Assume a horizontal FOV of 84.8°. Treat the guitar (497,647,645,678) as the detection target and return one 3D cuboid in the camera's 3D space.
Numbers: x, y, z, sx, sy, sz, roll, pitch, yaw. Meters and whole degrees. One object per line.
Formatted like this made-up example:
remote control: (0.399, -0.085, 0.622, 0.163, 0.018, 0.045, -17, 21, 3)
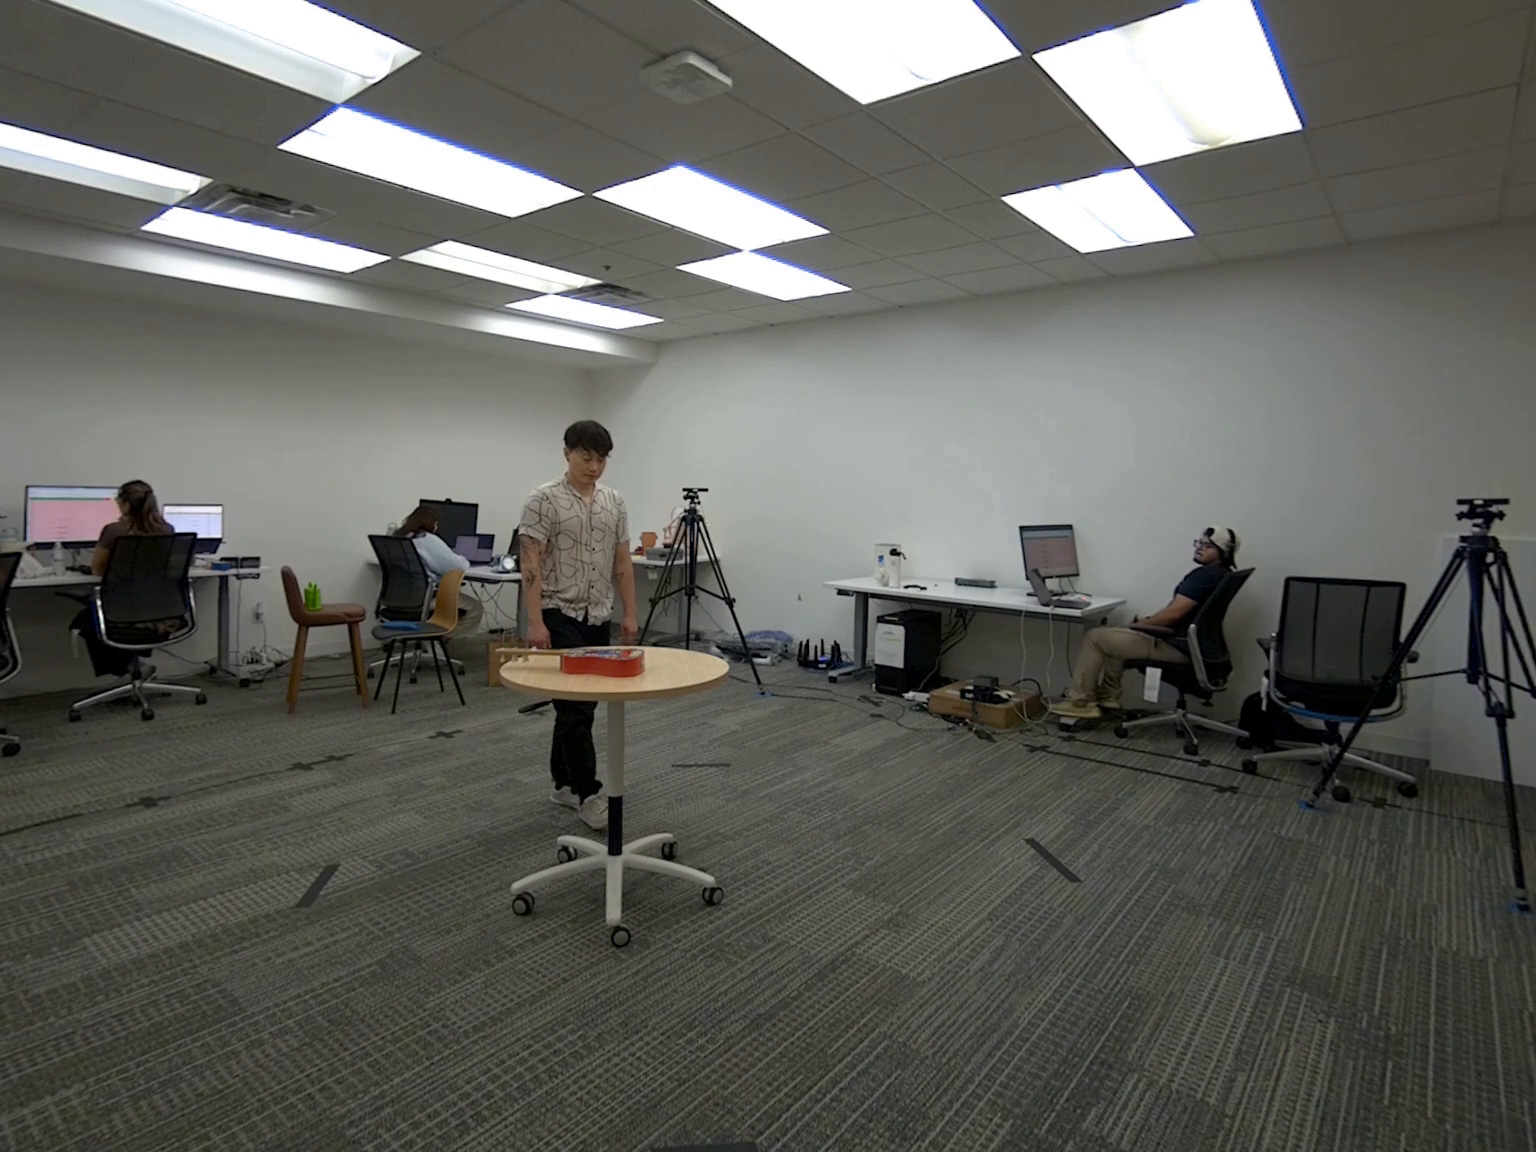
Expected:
guitar: (-0.669, 0.274, 2.836, 0.506, 0.070, 0.191, 2, 6, 15)
